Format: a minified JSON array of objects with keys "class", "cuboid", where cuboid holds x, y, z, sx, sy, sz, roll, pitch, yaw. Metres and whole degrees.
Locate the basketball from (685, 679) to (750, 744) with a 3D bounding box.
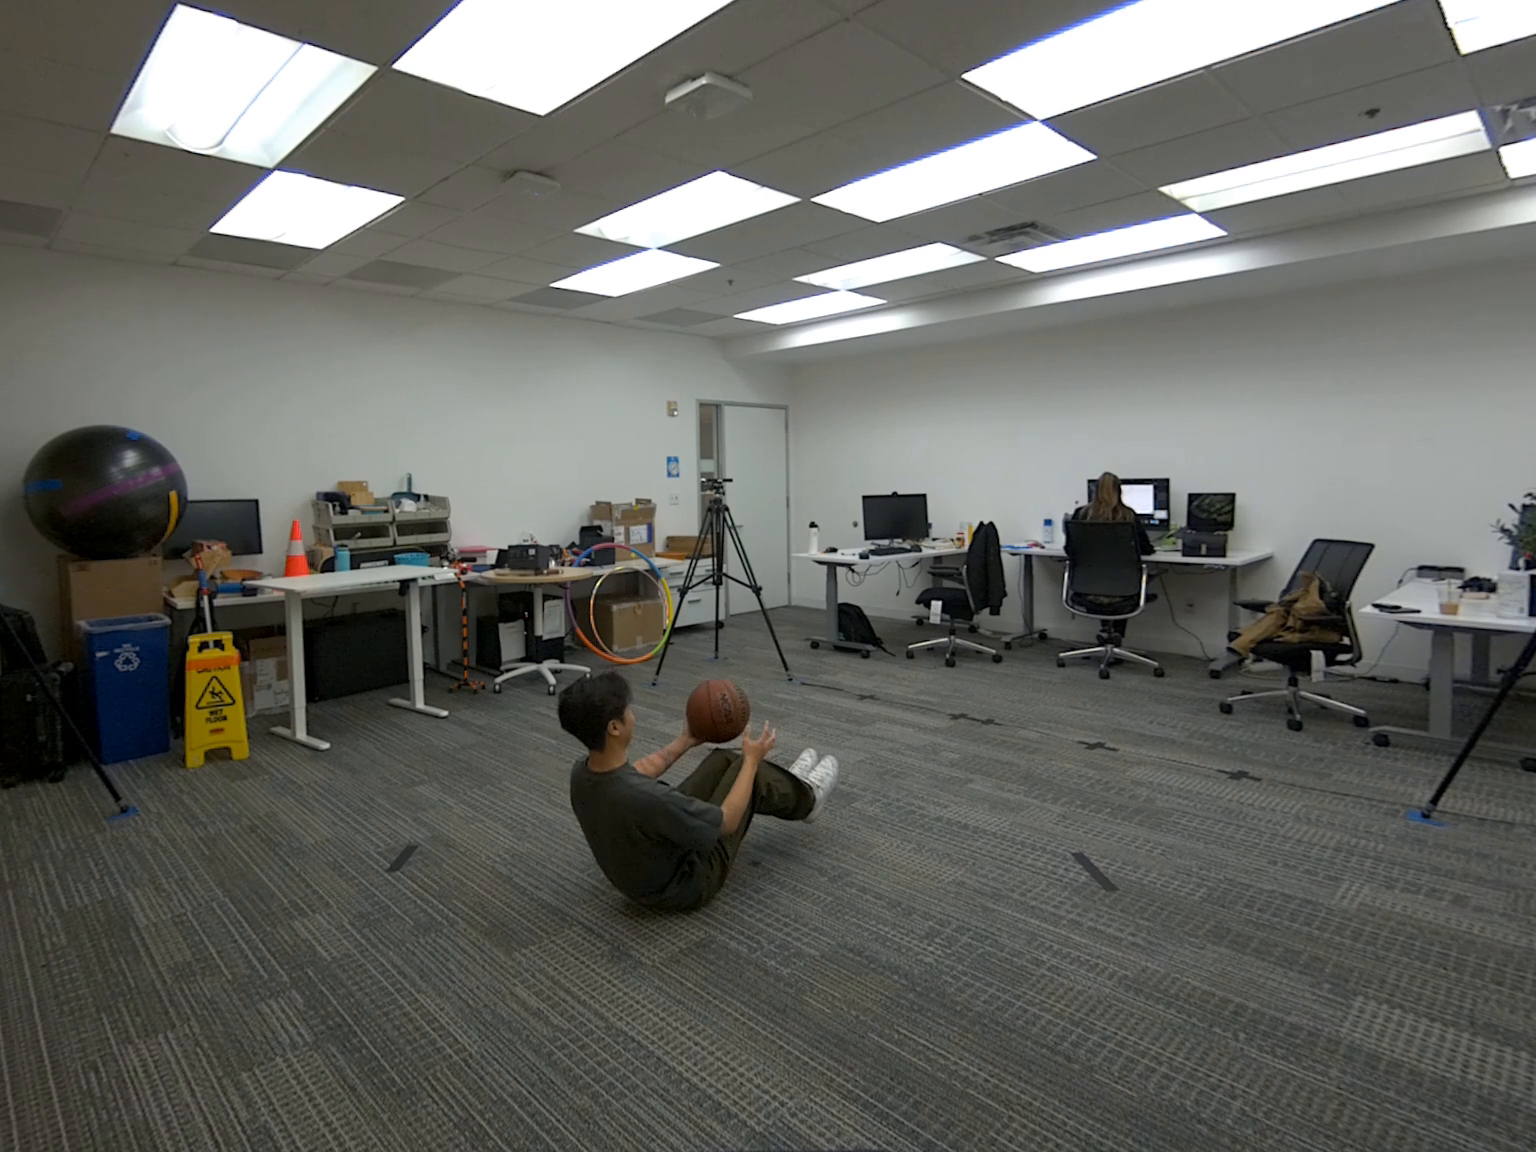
[{"class":"basketball","cuboid":[-0.178,0.515,3.173,0.236,0.235,0.237,-1,5,-2]}]
